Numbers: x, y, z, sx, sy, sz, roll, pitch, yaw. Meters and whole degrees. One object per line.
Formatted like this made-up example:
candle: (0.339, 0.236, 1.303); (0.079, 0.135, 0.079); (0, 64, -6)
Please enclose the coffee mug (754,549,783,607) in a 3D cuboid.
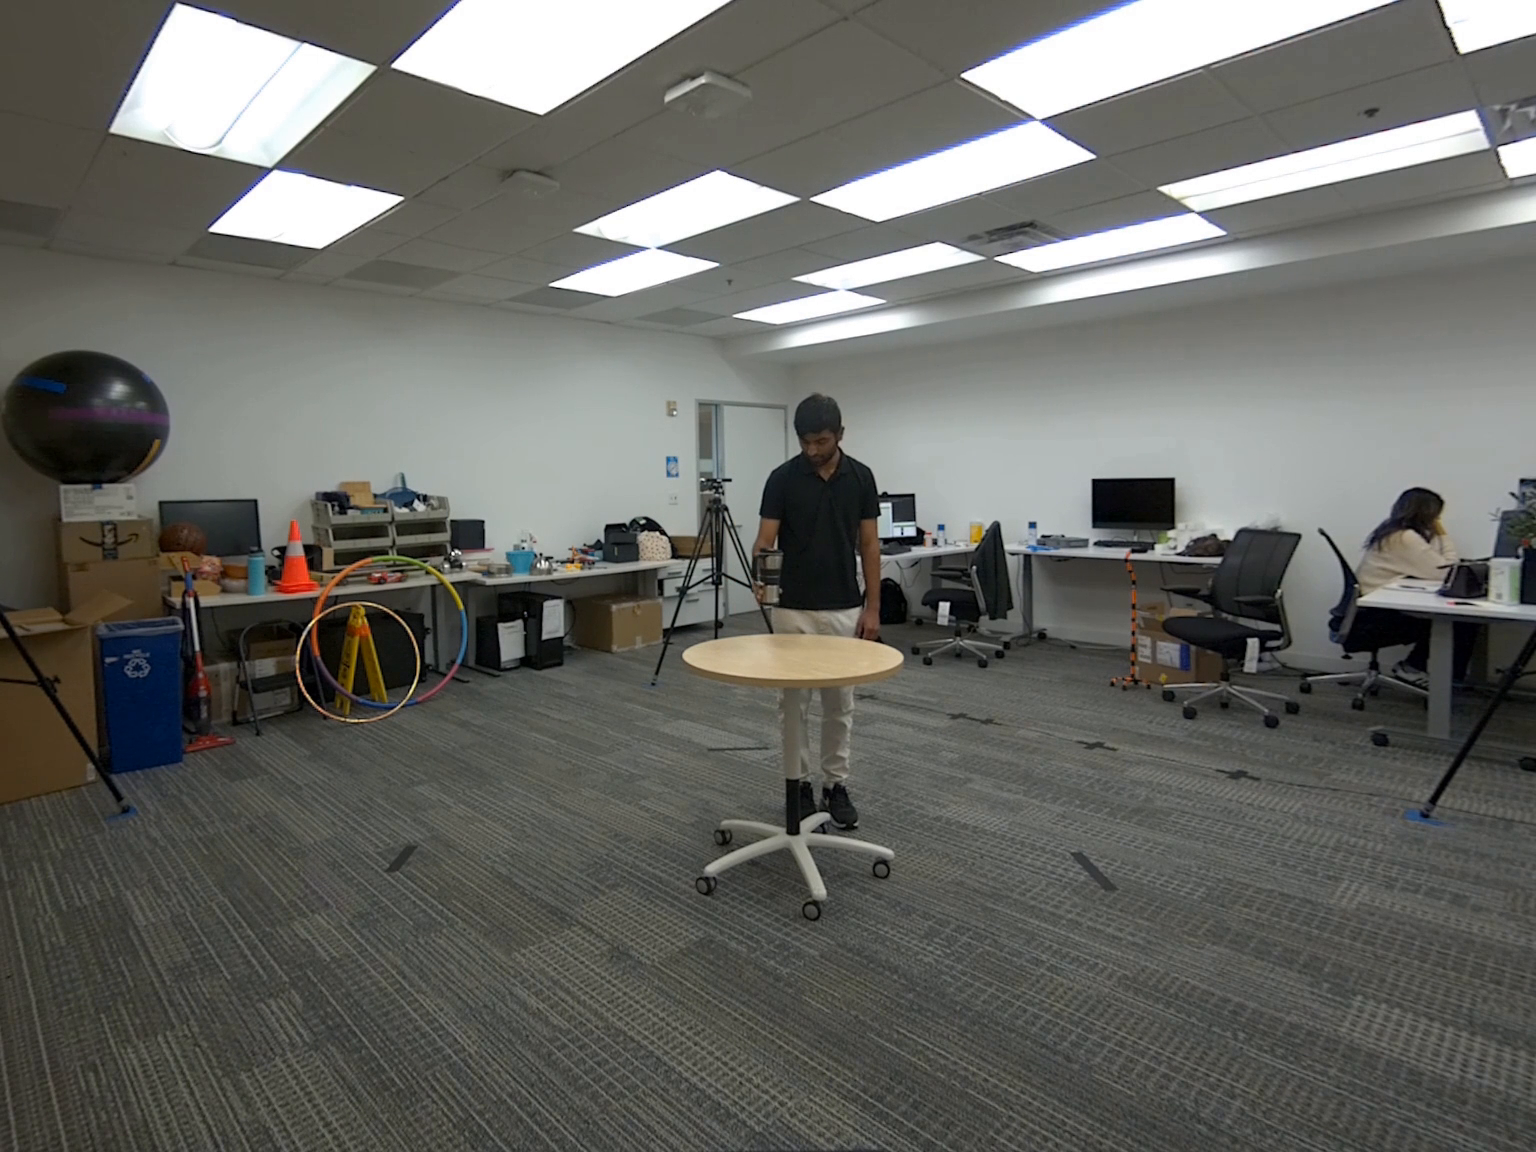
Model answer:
coffee mug: (-0.011, 0.006, 3.063); (0.120, 0.202, 0.089); (4, 4, -16)
